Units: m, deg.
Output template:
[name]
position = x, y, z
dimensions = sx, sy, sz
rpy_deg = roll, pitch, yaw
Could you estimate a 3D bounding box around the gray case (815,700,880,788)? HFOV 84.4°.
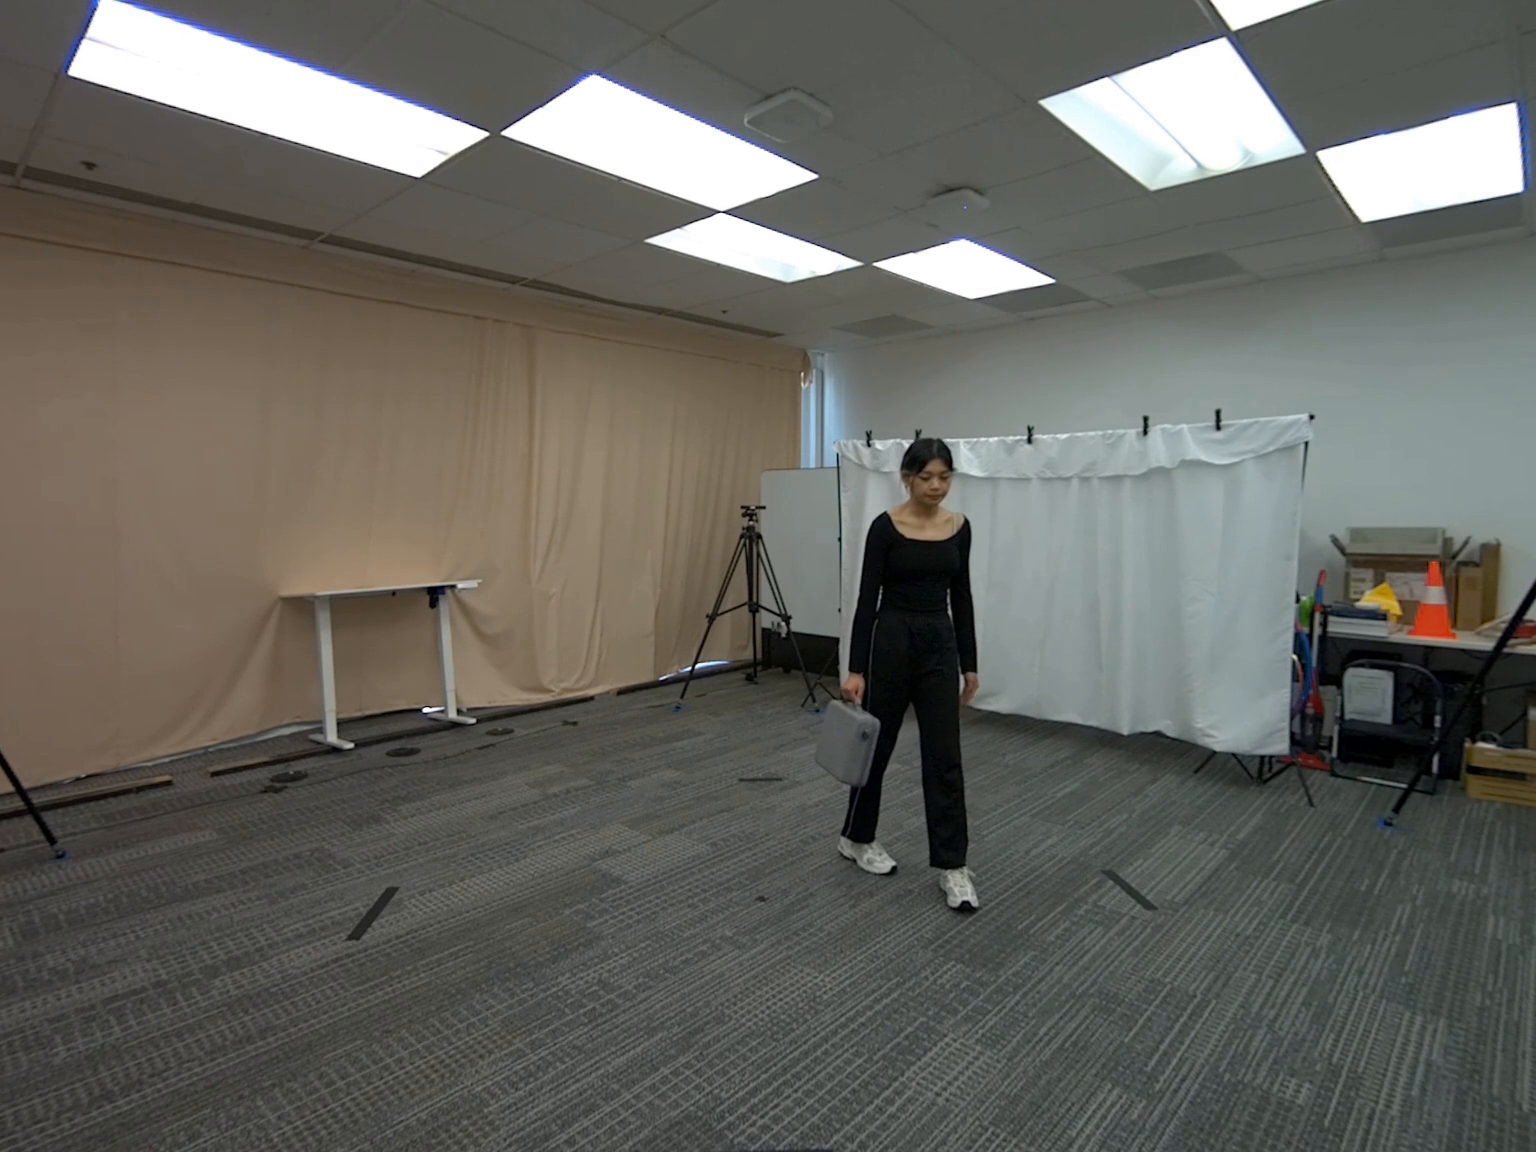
[gray case]
position = 0.296, 0.595, 3.037
dimensions = 0.102, 0.260, 0.262
rpy_deg = 10, 2, -20
